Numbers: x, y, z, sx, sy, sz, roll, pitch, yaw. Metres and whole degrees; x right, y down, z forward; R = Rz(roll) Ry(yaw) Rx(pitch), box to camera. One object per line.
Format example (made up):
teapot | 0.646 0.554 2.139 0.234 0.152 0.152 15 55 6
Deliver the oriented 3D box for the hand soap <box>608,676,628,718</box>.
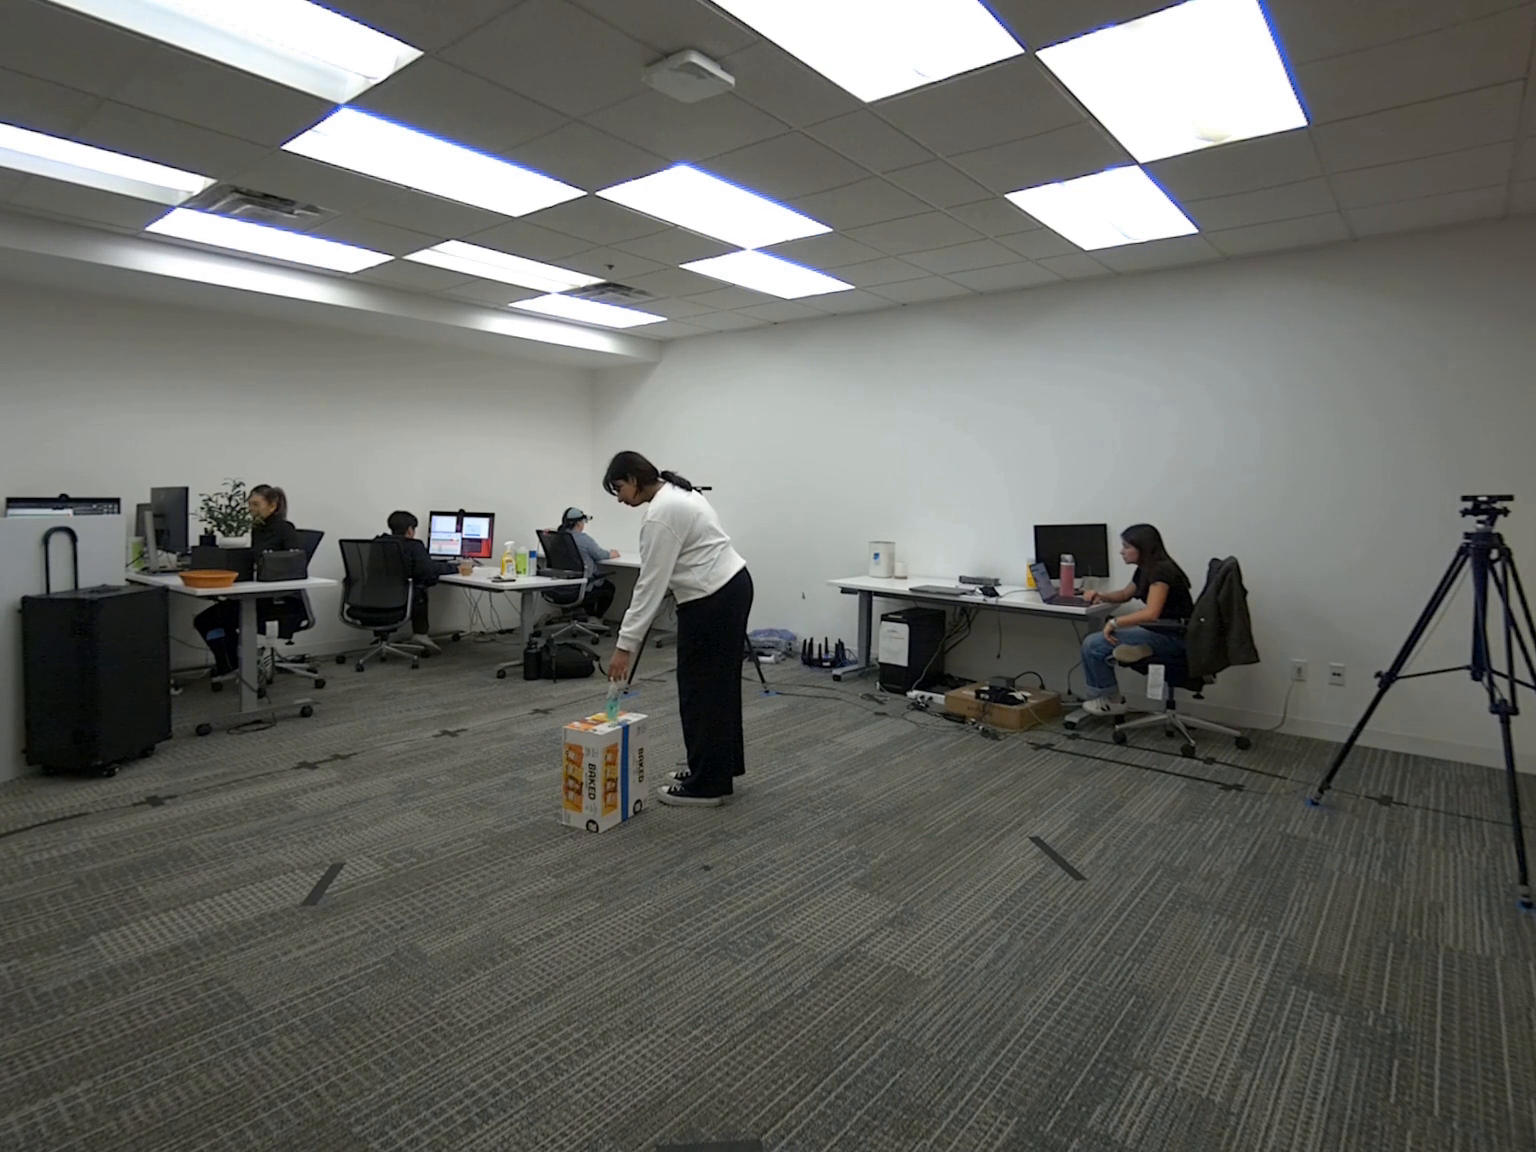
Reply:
hand soap | -0.640 0.507 3.584 0.044 0.168 0.083 -1 -1 21
